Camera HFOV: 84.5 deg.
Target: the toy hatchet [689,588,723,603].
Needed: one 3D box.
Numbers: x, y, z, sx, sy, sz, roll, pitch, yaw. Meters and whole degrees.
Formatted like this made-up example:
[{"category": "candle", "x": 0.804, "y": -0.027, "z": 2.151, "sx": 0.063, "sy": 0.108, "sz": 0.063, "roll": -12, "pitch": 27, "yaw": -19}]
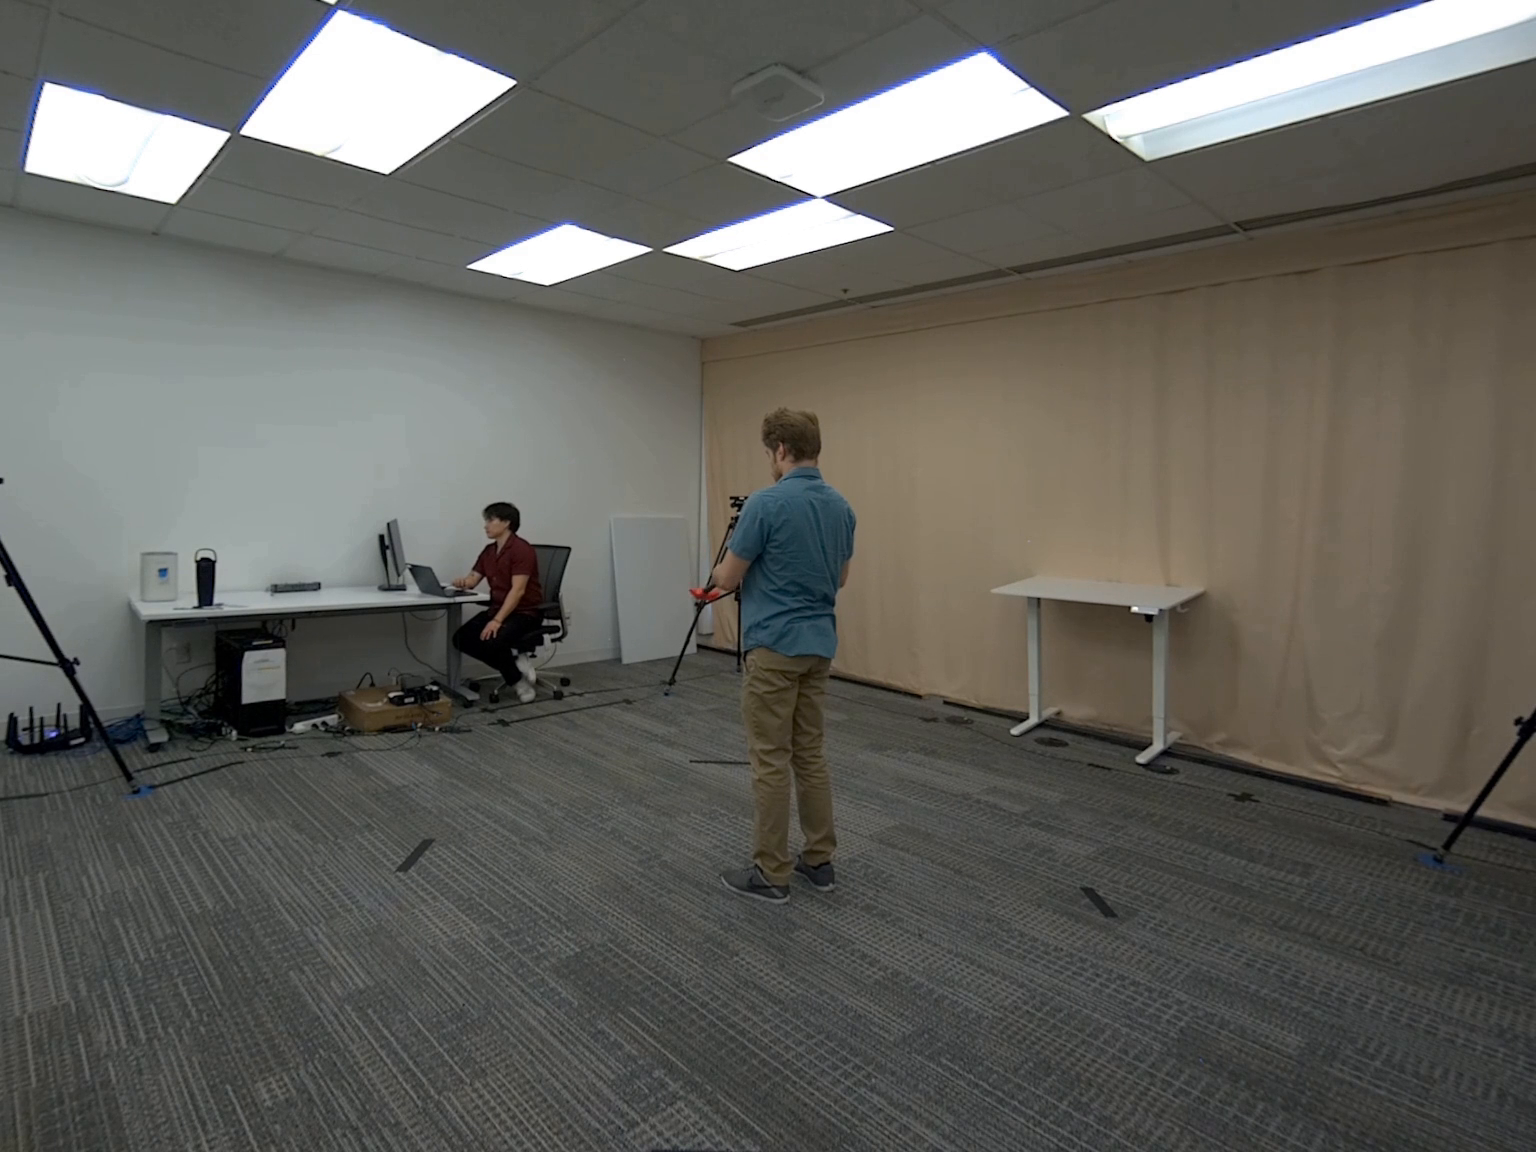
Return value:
[{"category": "toy hatchet", "x": -0.188, "y": 0.031, "z": 3.337, "sx": 0.272, "sy": 0.030, "sz": 0.127, "roll": -21, "pitch": -37, "yaw": 21}]
